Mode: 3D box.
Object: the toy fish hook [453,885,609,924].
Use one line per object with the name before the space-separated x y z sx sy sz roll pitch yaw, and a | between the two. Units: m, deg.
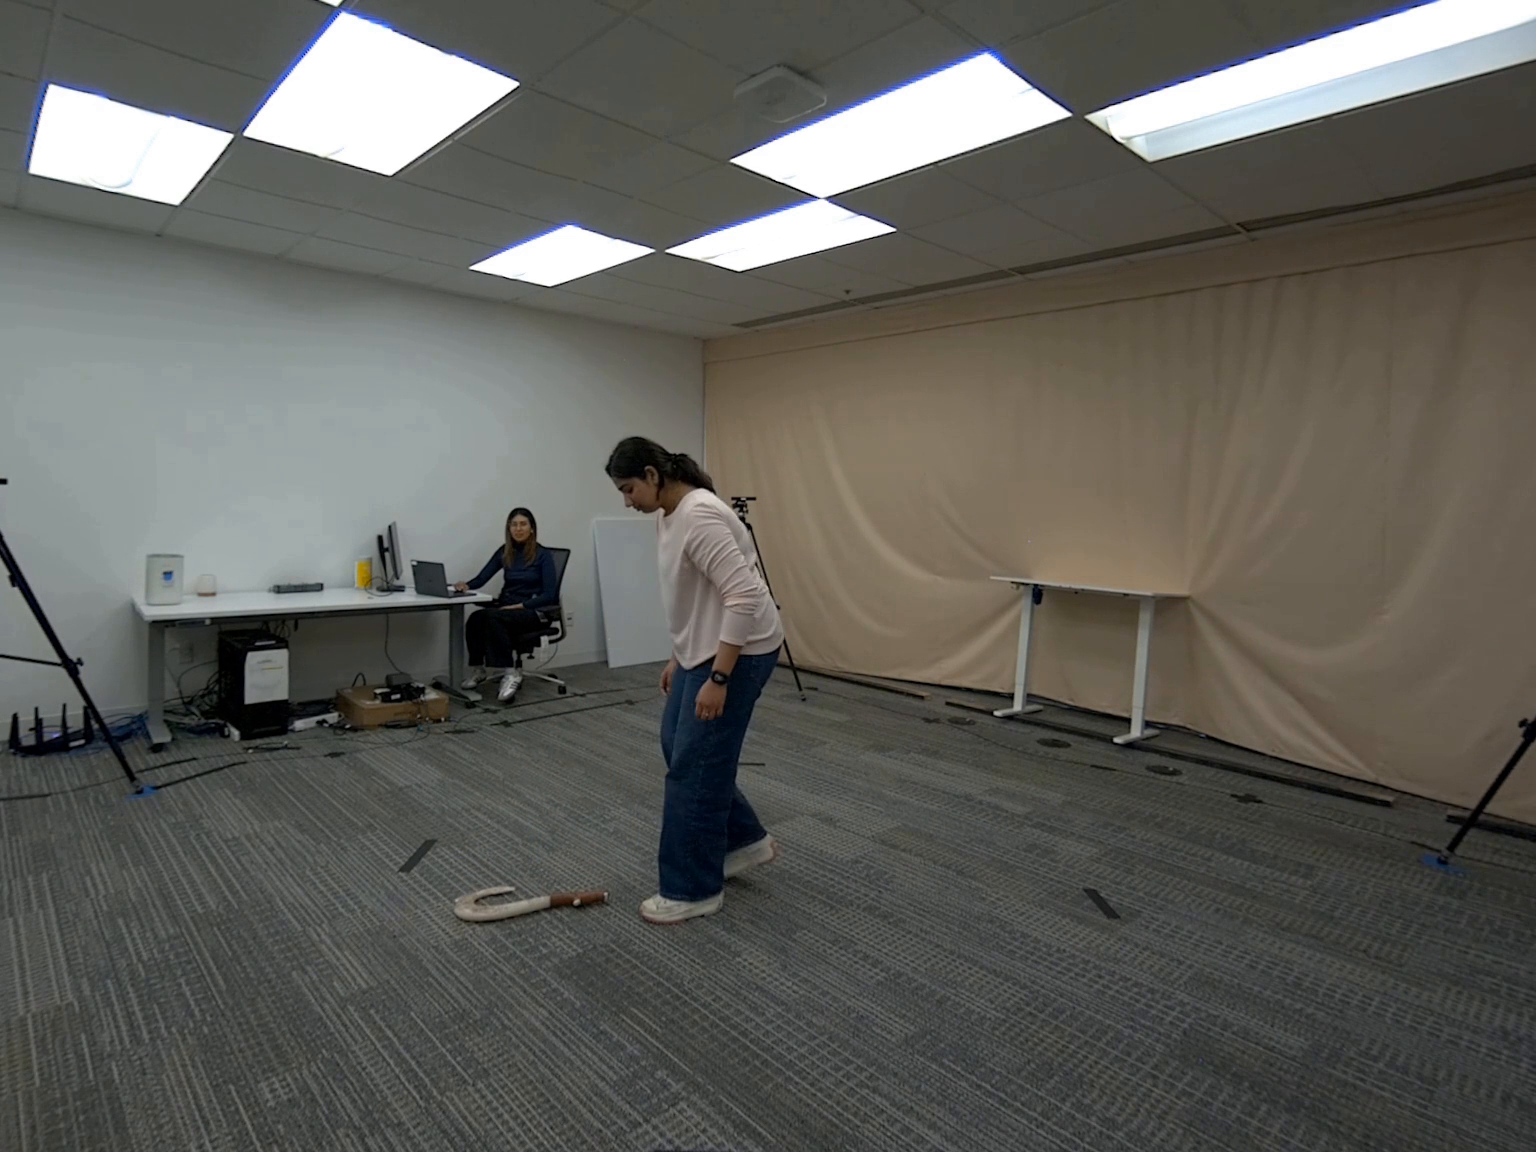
toy fish hook | -0.803 1.089 2.862 0.500 0.048 0.228 0 6 -16
